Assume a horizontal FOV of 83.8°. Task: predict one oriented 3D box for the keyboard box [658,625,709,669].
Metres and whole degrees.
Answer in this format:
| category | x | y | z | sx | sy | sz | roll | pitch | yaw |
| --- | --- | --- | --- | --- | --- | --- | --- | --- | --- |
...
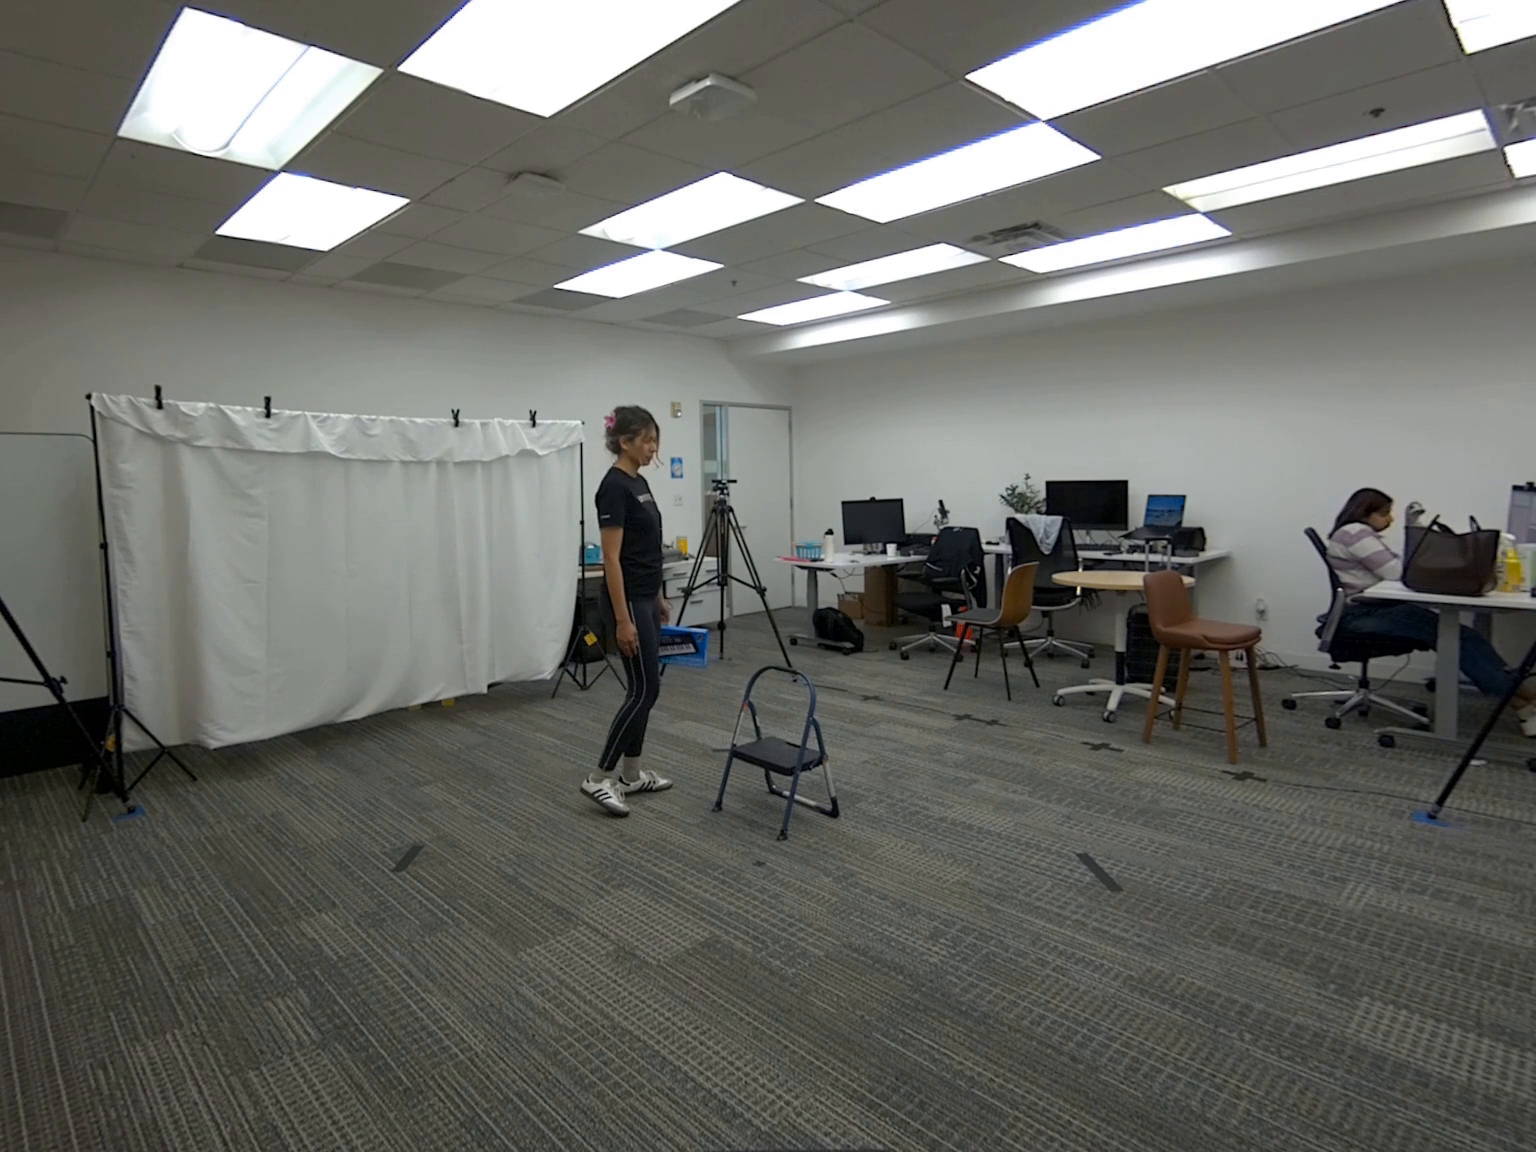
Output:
| category | x | y | z | sx | sy | sz | roll | pitch | yaw |
| --- | --- | --- | --- | --- | --- | --- | --- | --- | --- |
| keyboard box | -0.505 | 0.326 | 4.027 | 0.442 | 0.175 | 0.059 | 4 | 7 | 11 |
